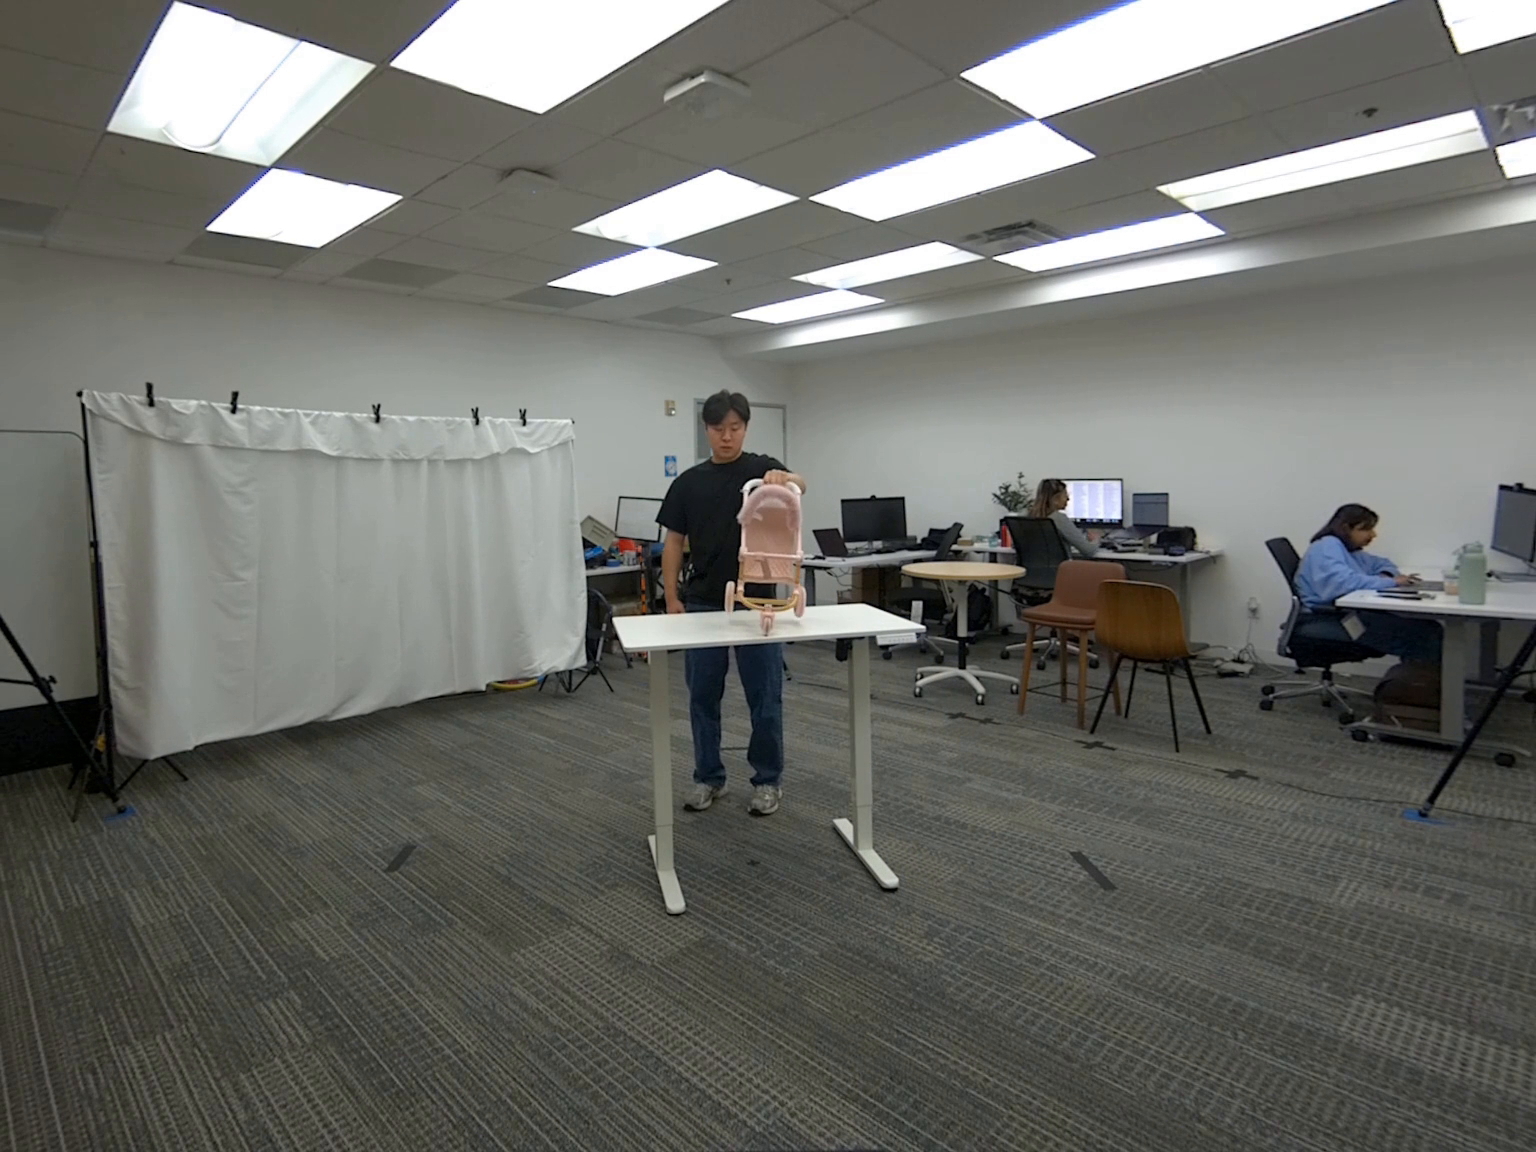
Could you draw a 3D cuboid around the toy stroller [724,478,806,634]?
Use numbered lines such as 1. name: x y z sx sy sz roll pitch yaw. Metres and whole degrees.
1. toy stroller: 0.001 -0.069 2.915 0.282 0.535 0.340 4 -1 2
